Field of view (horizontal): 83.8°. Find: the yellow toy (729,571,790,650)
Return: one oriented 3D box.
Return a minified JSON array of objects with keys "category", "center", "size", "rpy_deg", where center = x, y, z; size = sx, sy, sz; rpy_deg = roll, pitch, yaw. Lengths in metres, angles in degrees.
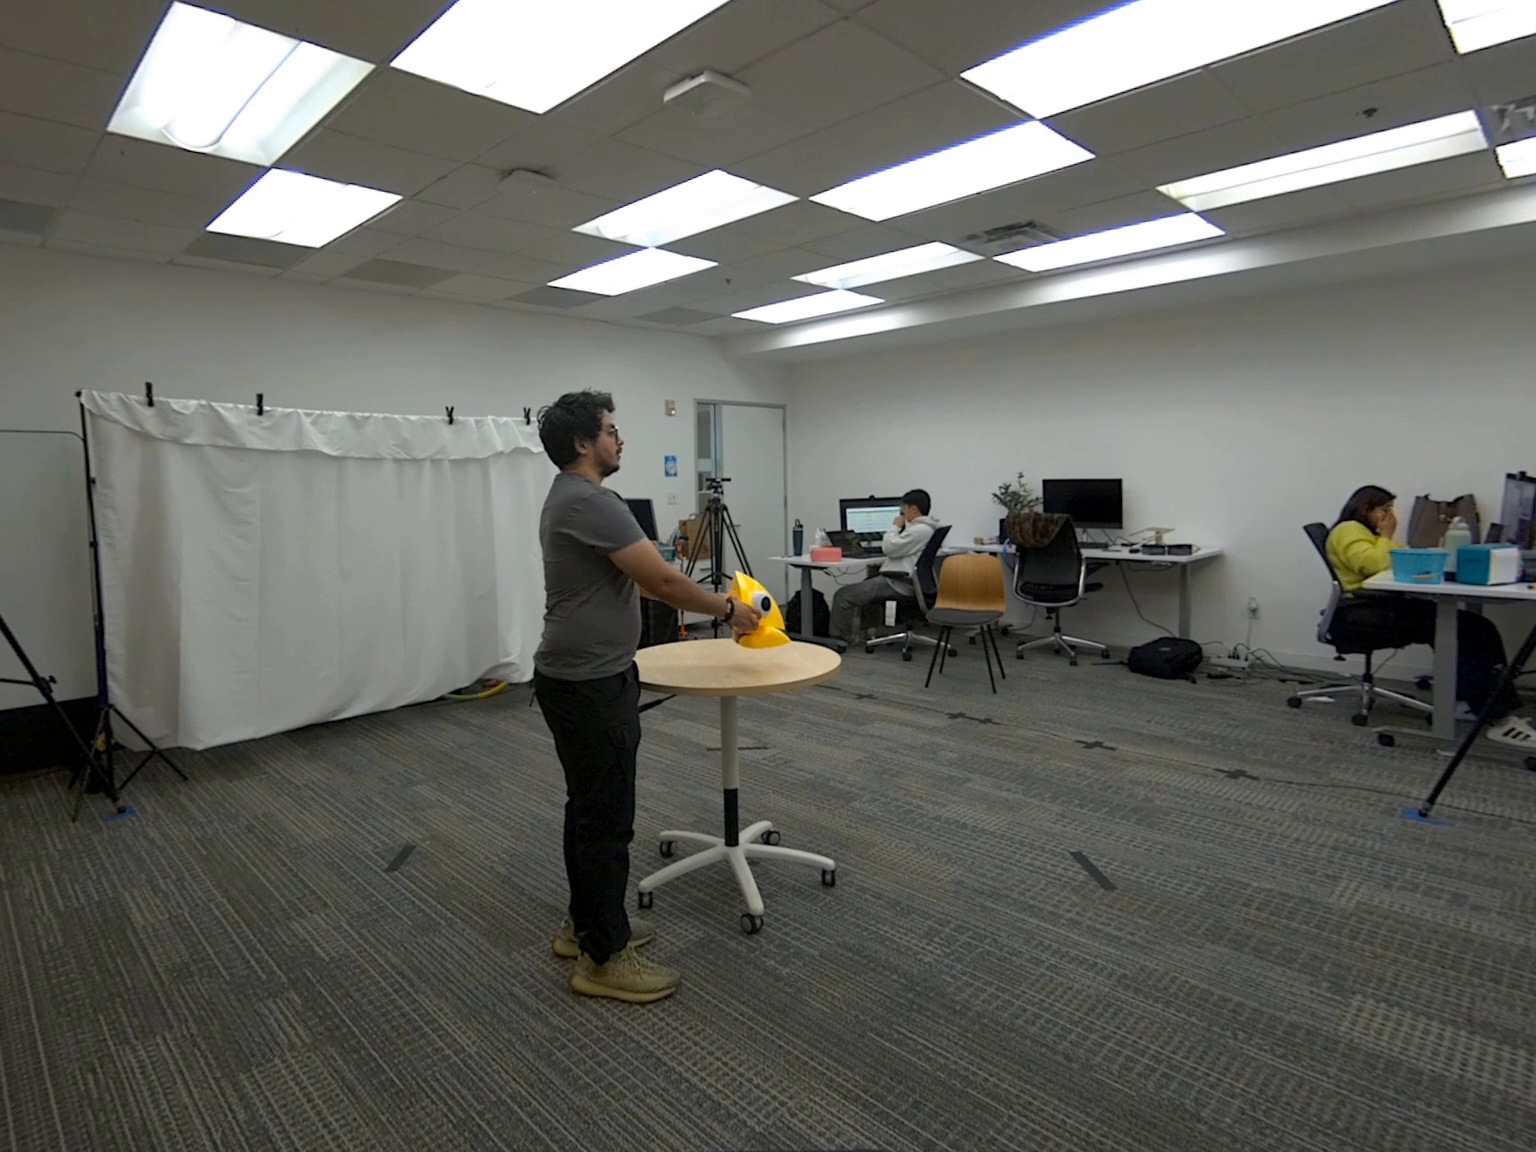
[{"category":"yellow toy","center":[-0.032,0.095,2.707],"size":[0.190,0.229,0.209],"rpy_deg":[-6,9,-18]}]
